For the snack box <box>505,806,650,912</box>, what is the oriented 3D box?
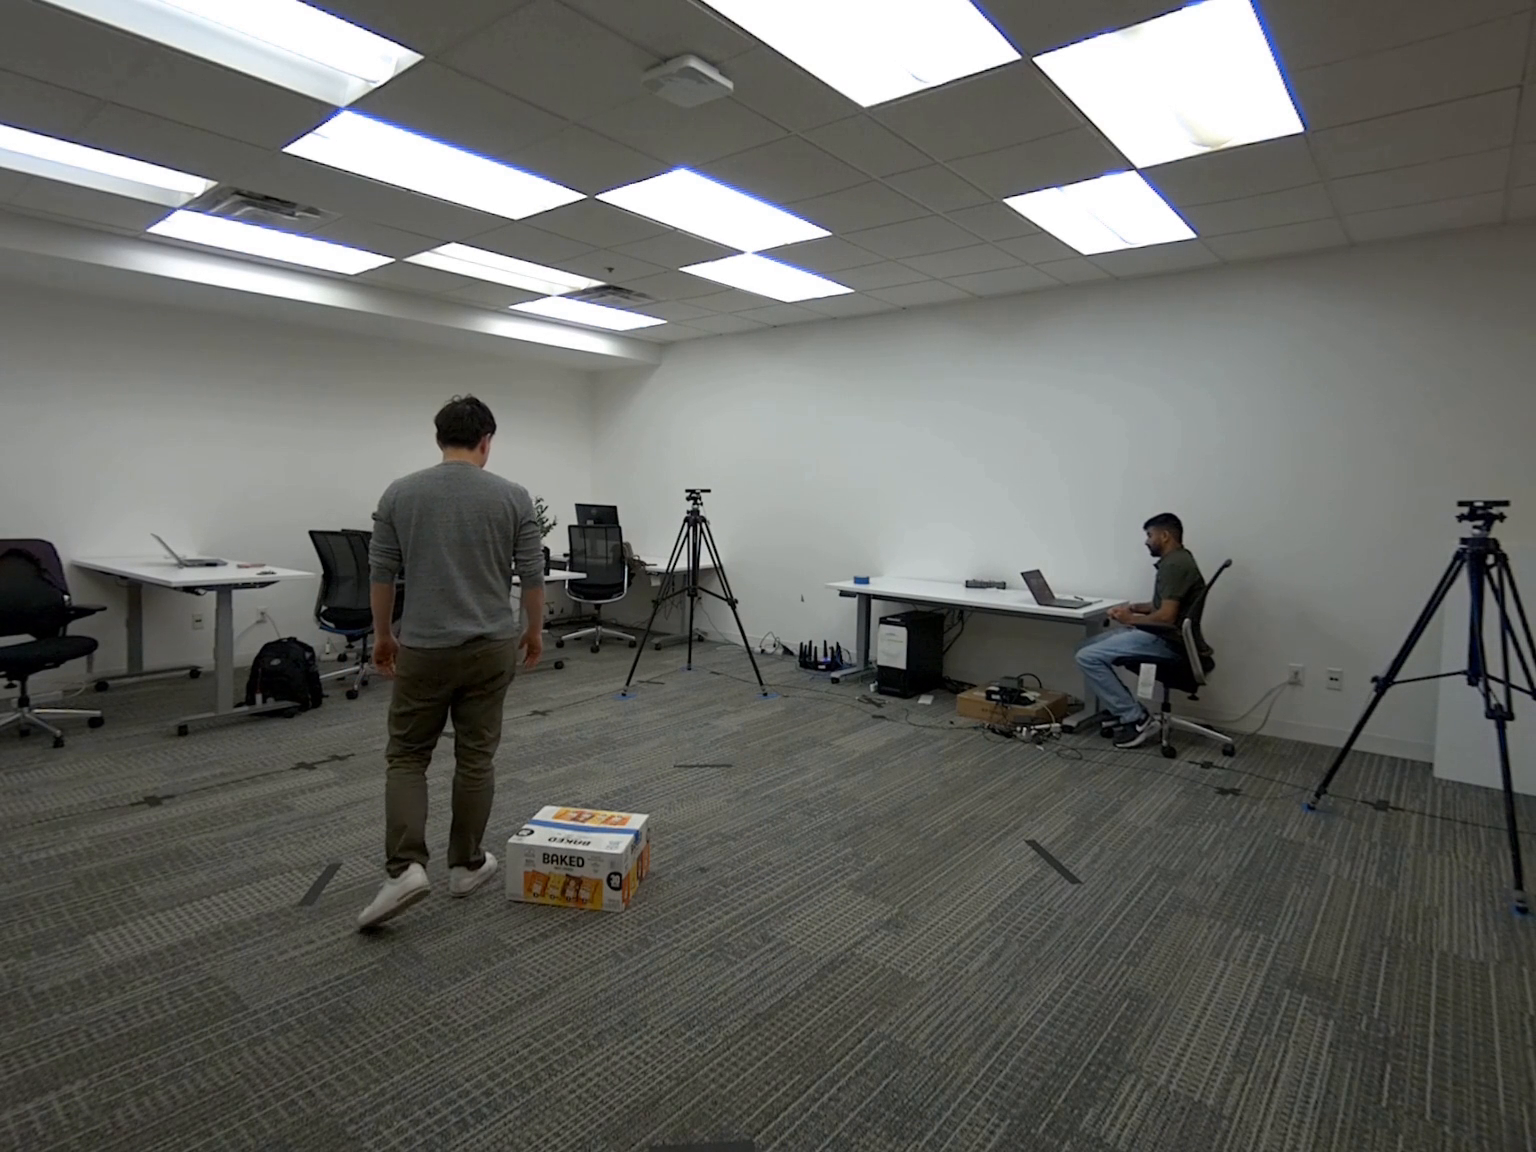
[{"bbox_3d":[-0.664,0.982,2.963,0.410,0.205,0.338,2,4,9],"label":"snack box"}]
